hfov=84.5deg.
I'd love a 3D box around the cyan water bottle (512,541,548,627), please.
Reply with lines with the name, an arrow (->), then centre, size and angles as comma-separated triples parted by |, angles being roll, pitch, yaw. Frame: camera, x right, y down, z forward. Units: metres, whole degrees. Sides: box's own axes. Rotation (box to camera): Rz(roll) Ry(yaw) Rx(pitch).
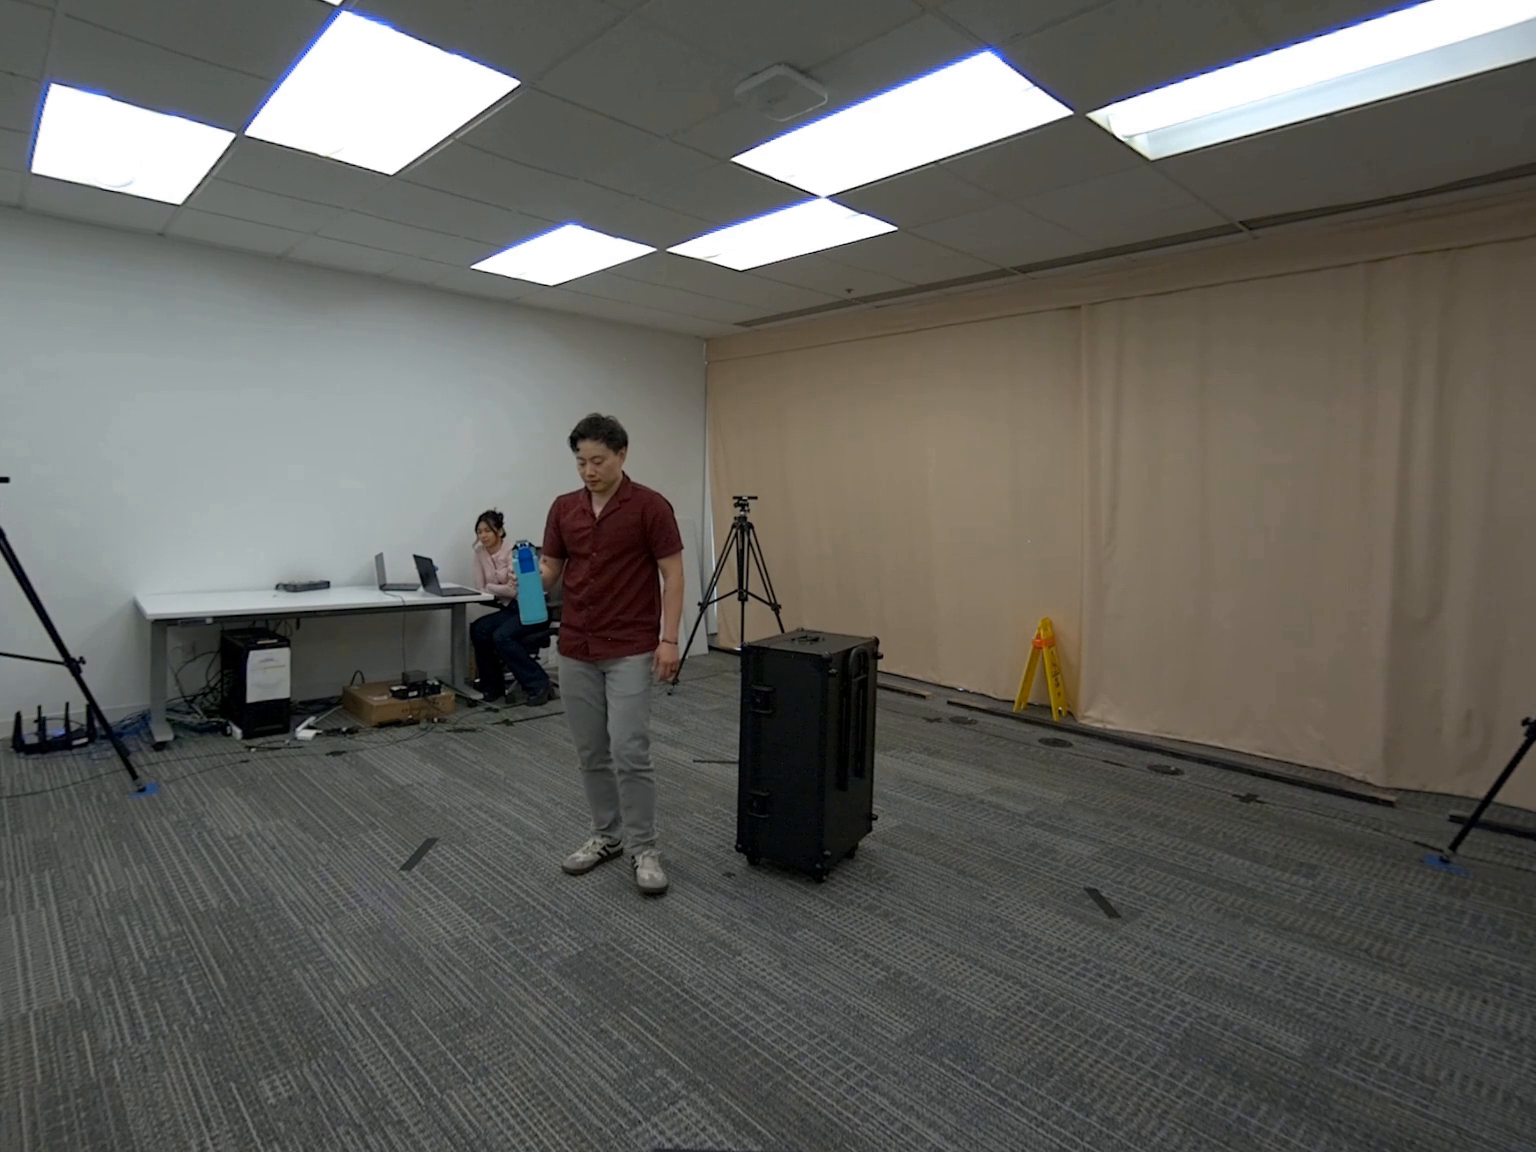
cyan water bottle -> -0.825, 0.019, 2.854 | 0.092, 0.282, 0.093 | -6, 7, -1
